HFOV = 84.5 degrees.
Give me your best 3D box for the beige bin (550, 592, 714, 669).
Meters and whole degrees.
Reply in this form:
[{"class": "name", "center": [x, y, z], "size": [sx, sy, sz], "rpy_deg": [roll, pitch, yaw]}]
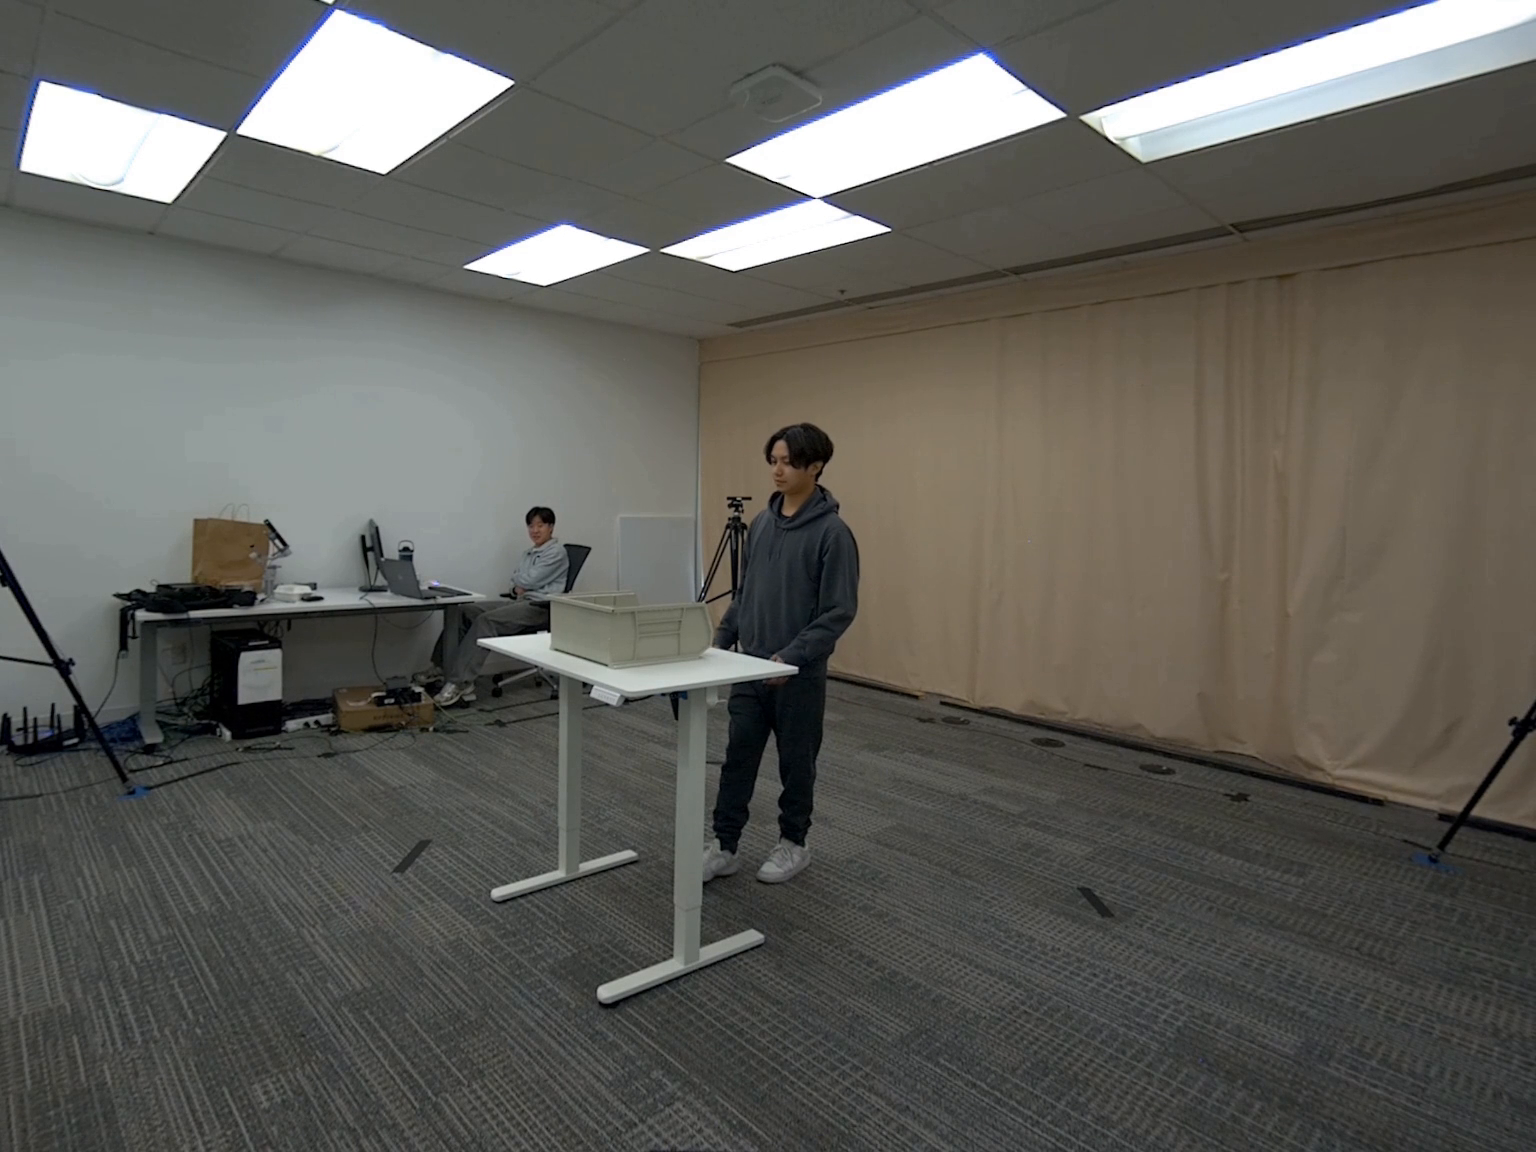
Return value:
[{"class": "beige bin", "center": [-0.456, 0.165, 2.706], "size": [0.369, 0.188, 0.433], "rpy_deg": [-3, 6, -40]}]
